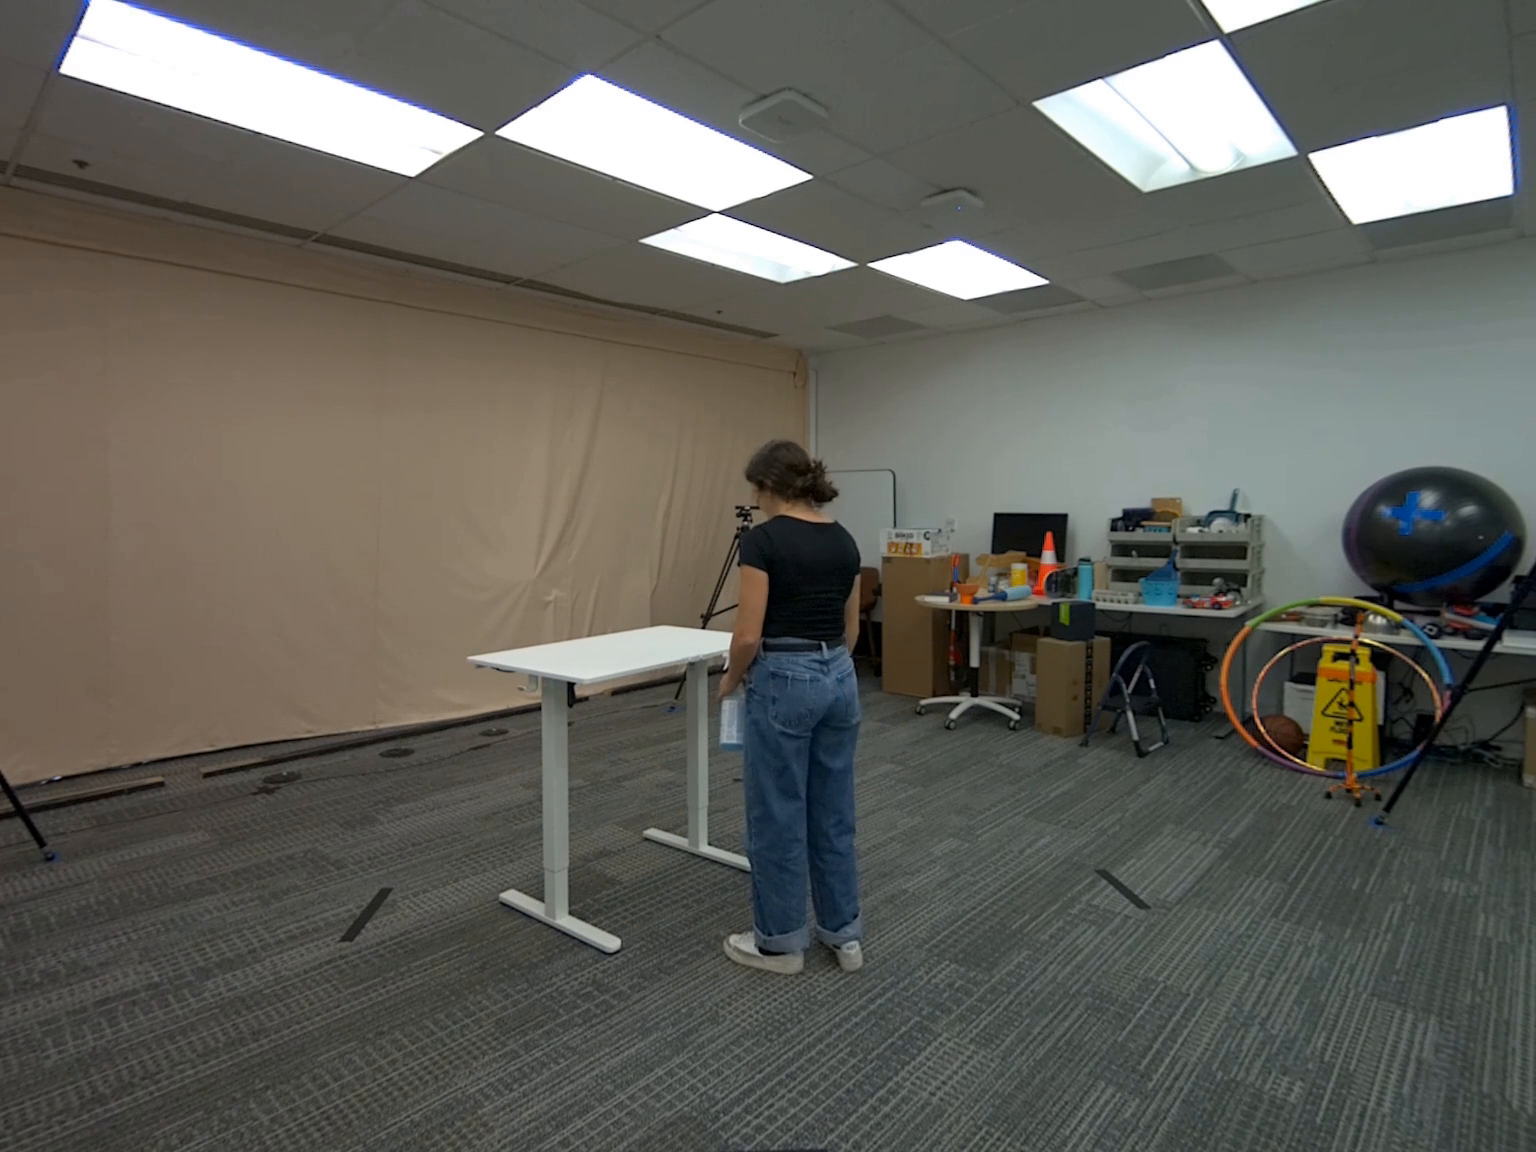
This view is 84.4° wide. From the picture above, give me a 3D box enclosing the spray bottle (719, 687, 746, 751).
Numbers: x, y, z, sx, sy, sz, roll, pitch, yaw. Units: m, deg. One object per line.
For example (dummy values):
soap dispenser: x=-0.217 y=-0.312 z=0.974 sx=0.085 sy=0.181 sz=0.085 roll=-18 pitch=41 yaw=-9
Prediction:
spray bottle: x=-0.096 y=0.397 z=2.609 sx=0.090 sy=0.300 sz=0.086 roll=1 pitch=-16 yaw=-1
